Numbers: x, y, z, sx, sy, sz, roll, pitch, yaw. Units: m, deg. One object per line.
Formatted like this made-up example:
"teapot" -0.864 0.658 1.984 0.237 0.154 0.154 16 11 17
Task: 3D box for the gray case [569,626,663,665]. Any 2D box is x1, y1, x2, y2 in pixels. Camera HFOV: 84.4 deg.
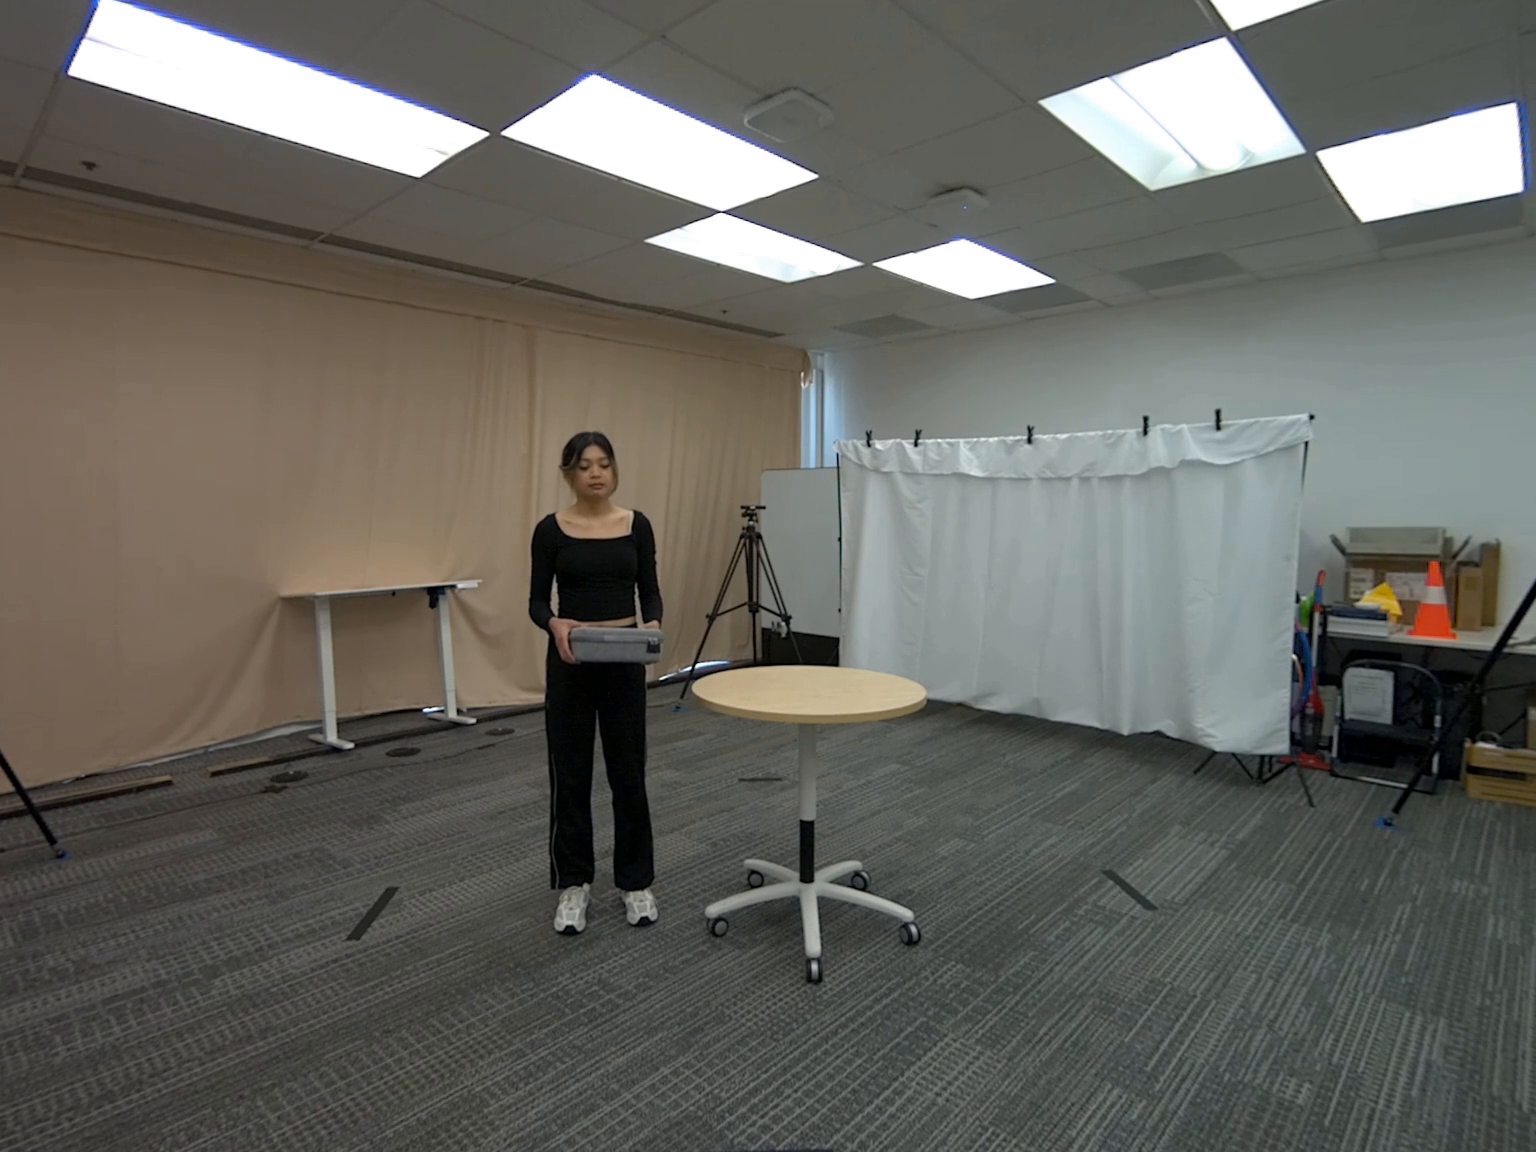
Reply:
"gray case" -0.475 0.209 2.600 0.251 0.104 0.265 0 -4 -21
